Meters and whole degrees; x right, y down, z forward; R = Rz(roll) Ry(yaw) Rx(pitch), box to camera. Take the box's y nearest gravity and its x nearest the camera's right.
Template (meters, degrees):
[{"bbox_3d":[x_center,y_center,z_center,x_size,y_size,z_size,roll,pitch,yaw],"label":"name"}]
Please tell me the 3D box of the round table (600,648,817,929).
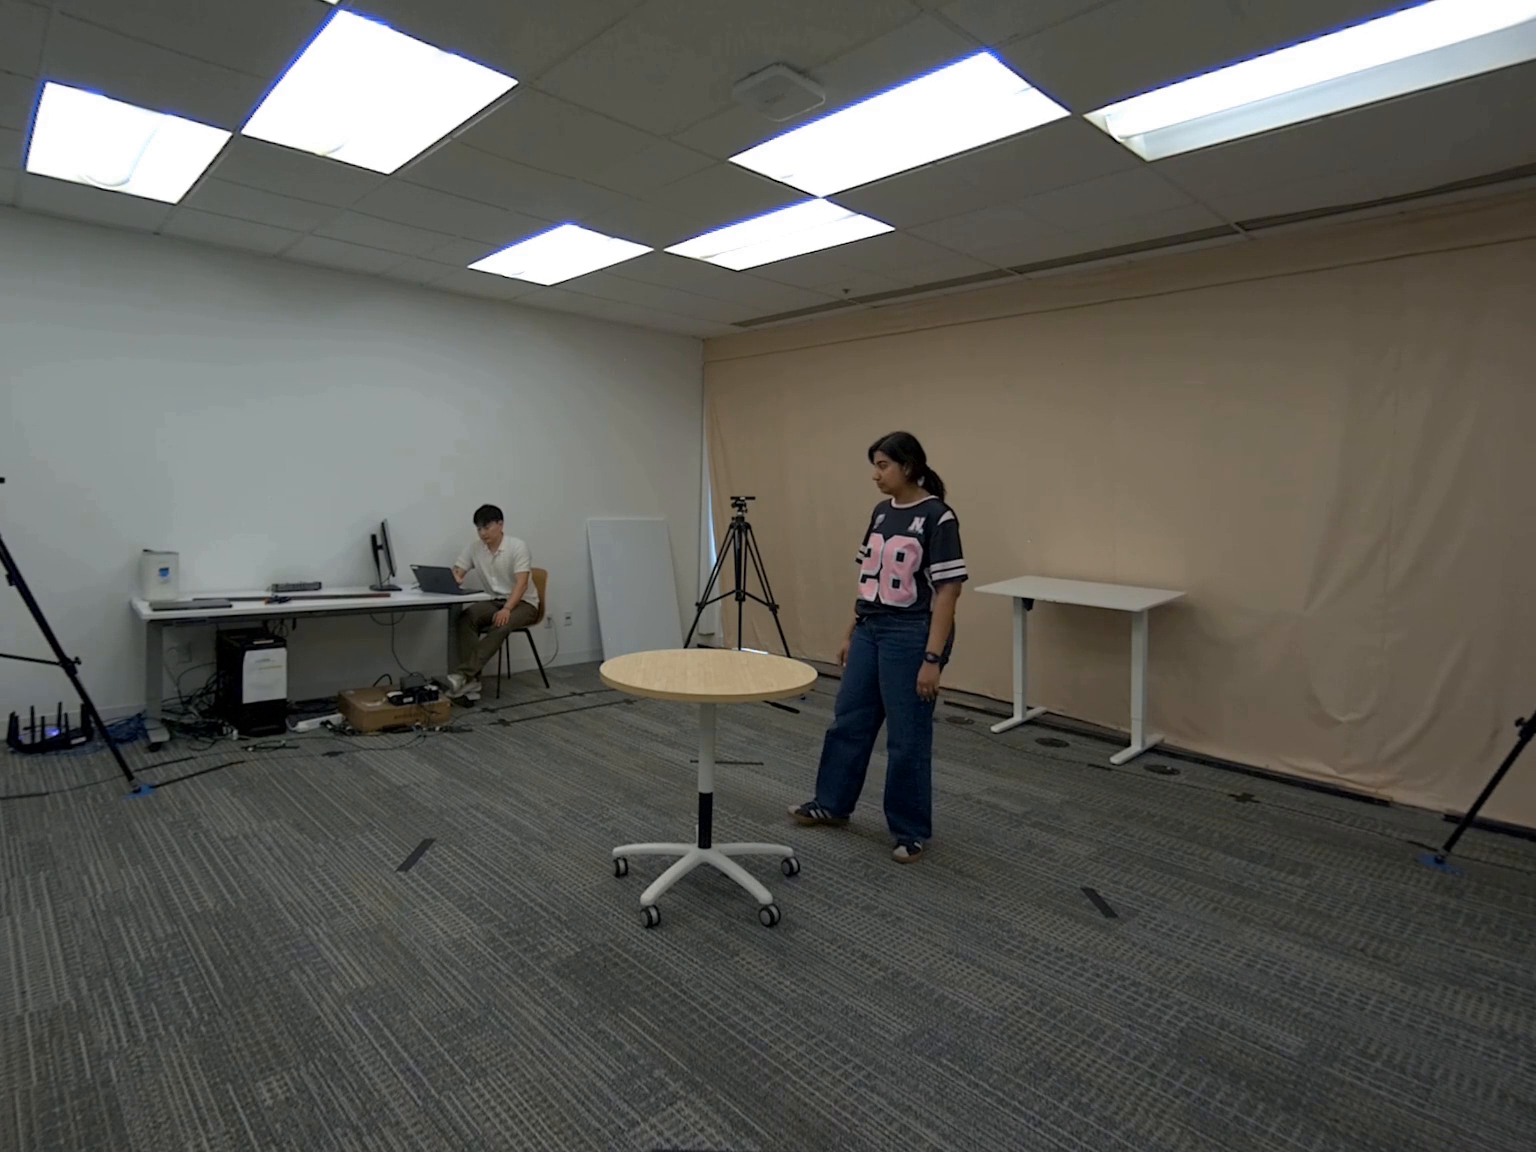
[{"bbox_3d":[-0.224,0.724,2.997,0.763,0.792,0.767,1,4,-1],"label":"round table"}]
